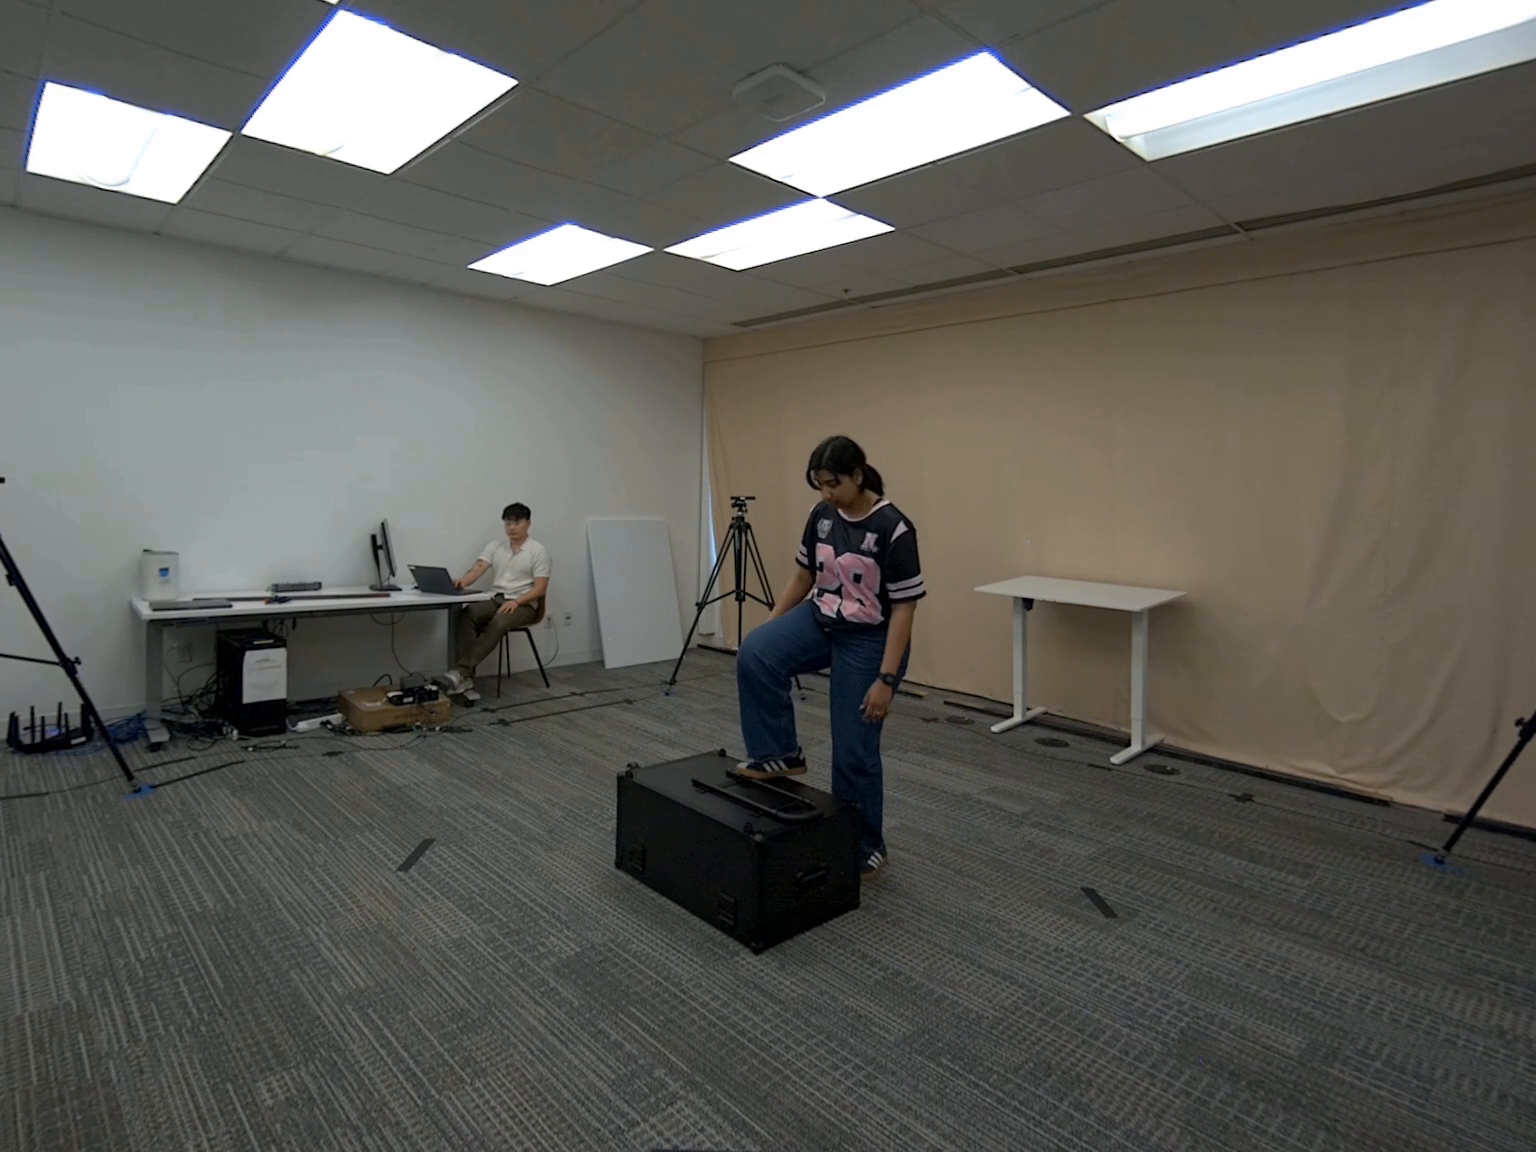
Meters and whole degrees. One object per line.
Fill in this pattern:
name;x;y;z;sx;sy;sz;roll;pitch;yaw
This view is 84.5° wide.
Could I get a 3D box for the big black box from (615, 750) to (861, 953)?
big black box;-0.161;0.928;3.020;0.512;0.384;0.891;-4;7;-42
